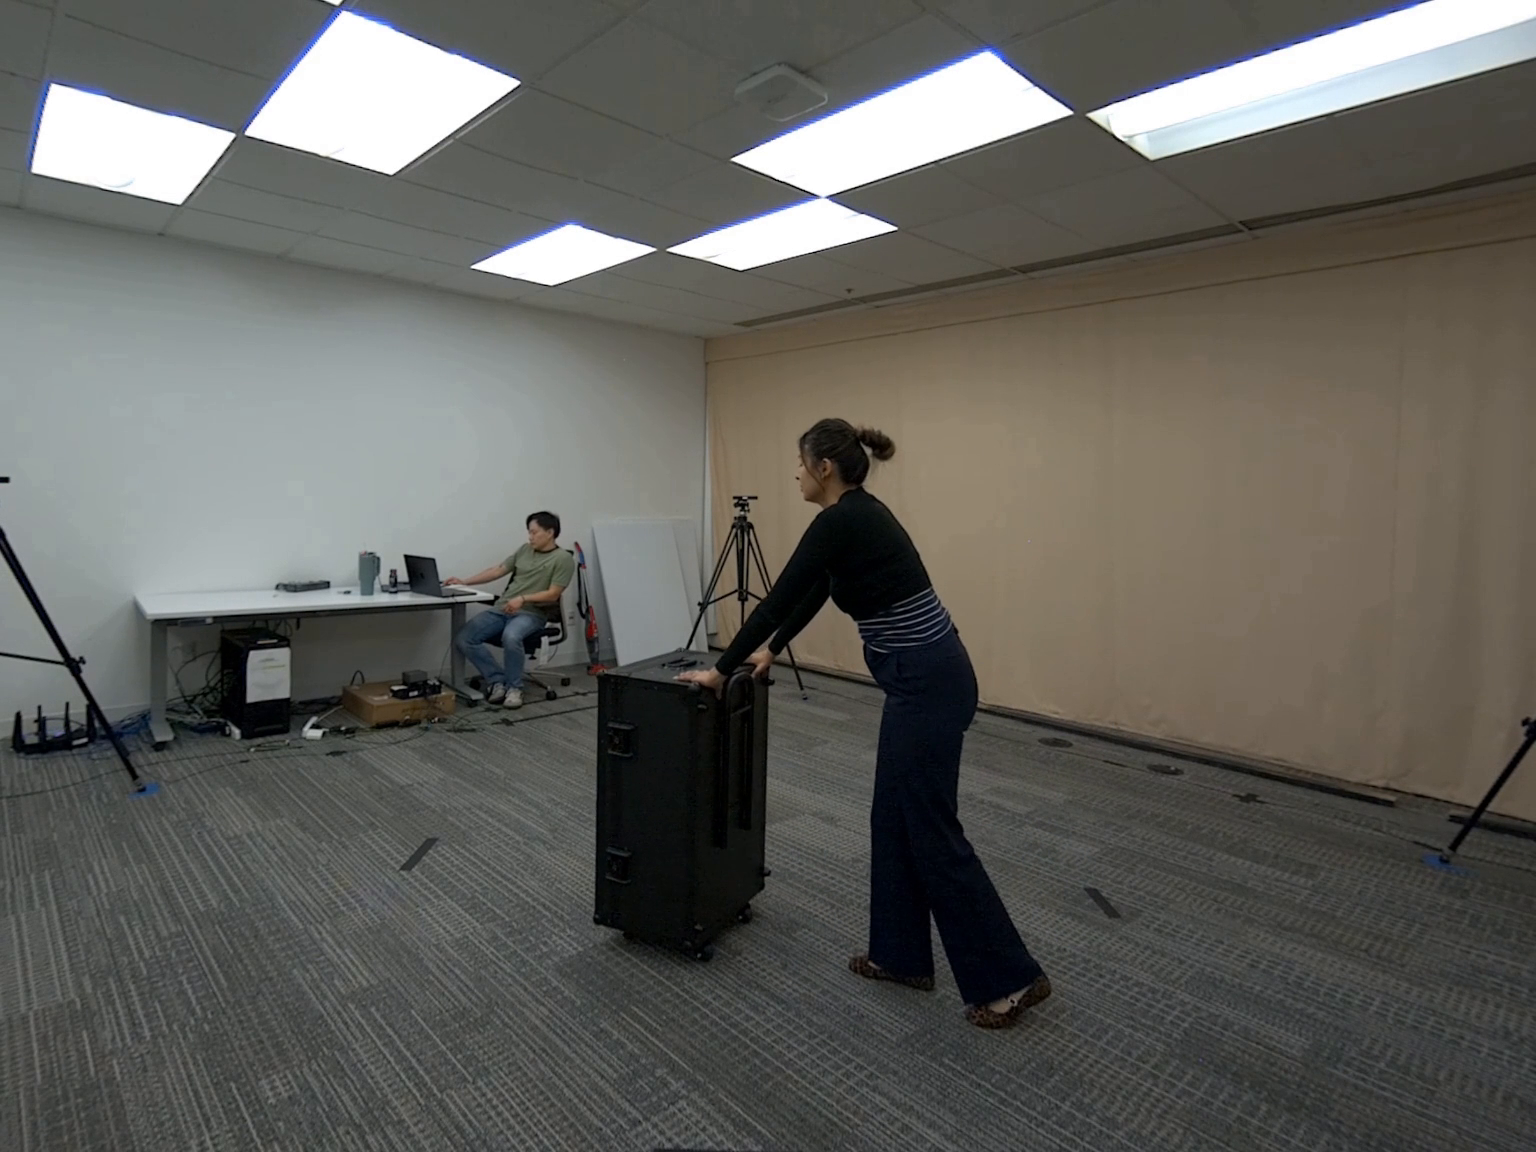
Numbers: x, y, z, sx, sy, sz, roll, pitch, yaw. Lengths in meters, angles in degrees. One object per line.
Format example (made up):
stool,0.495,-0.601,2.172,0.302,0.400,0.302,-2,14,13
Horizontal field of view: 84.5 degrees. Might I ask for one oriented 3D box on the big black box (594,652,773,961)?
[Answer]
big black box,-0.258,0.714,2.703,0.404,0.859,0.512,4,4,27
